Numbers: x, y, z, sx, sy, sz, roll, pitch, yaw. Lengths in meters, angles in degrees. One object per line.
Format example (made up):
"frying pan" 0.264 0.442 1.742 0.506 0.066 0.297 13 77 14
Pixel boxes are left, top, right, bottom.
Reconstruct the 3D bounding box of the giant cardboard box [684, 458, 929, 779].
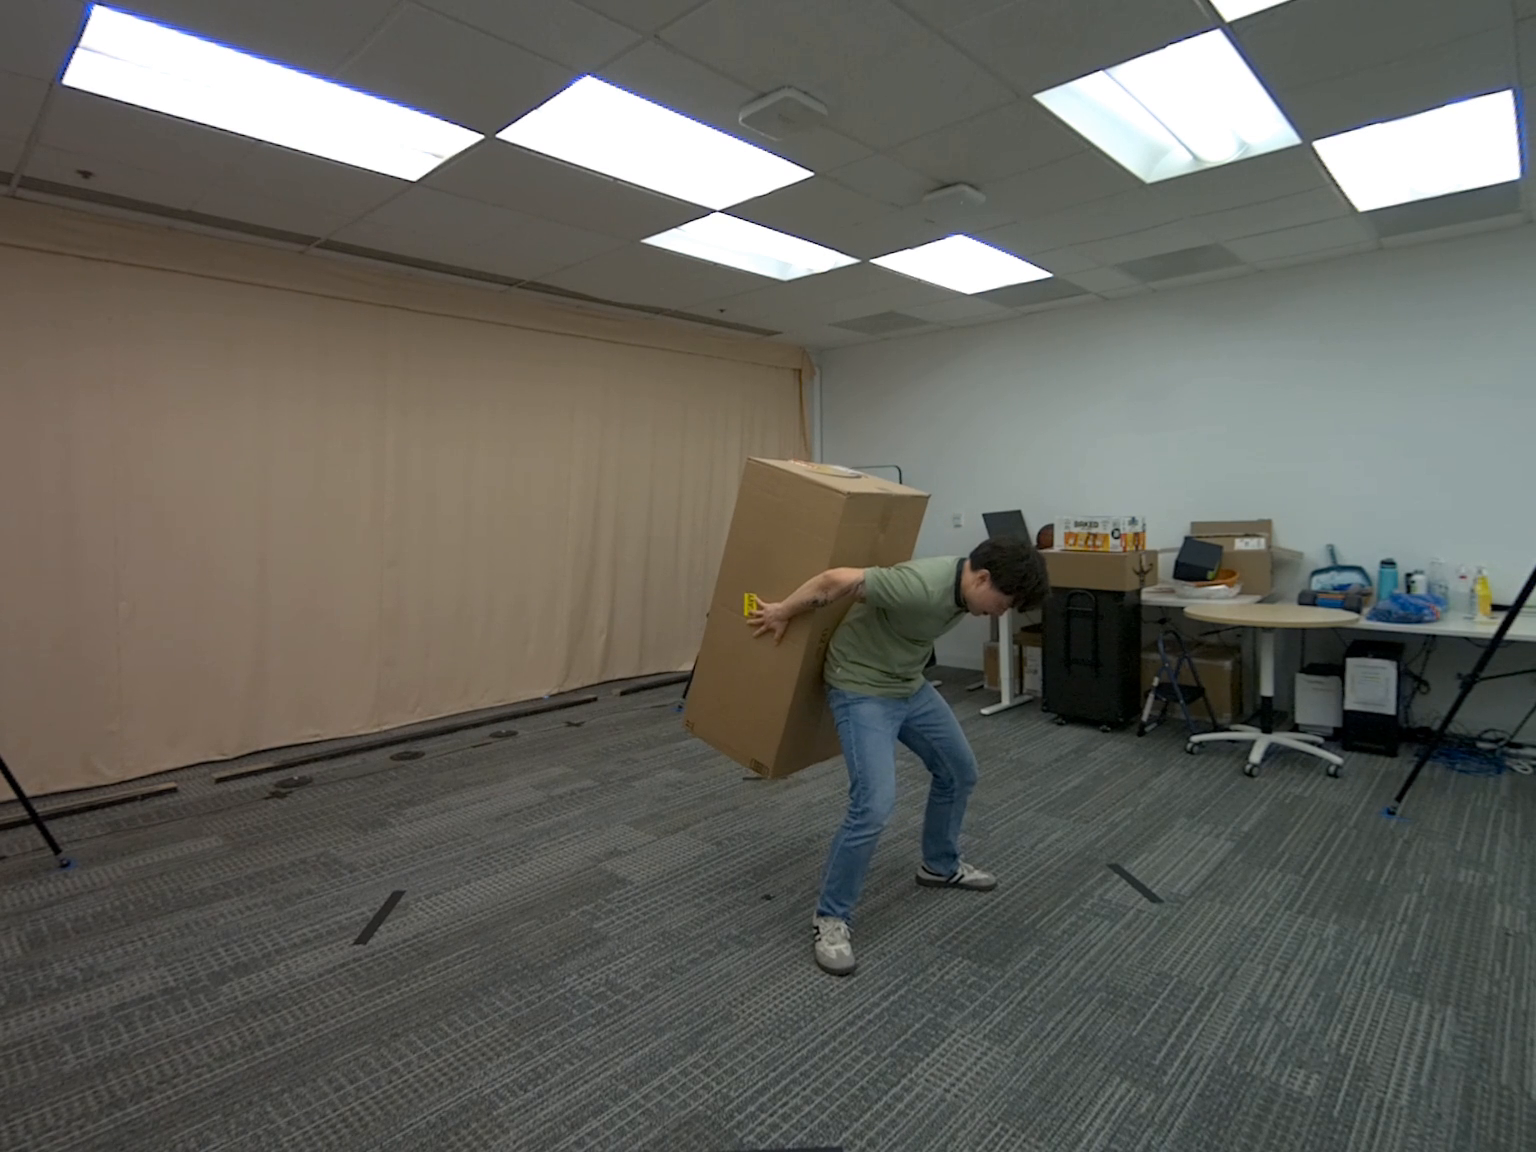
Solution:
"giant cardboard box" 0.134 0.133 3.058 0.441 1.021 0.560 25 17 36
